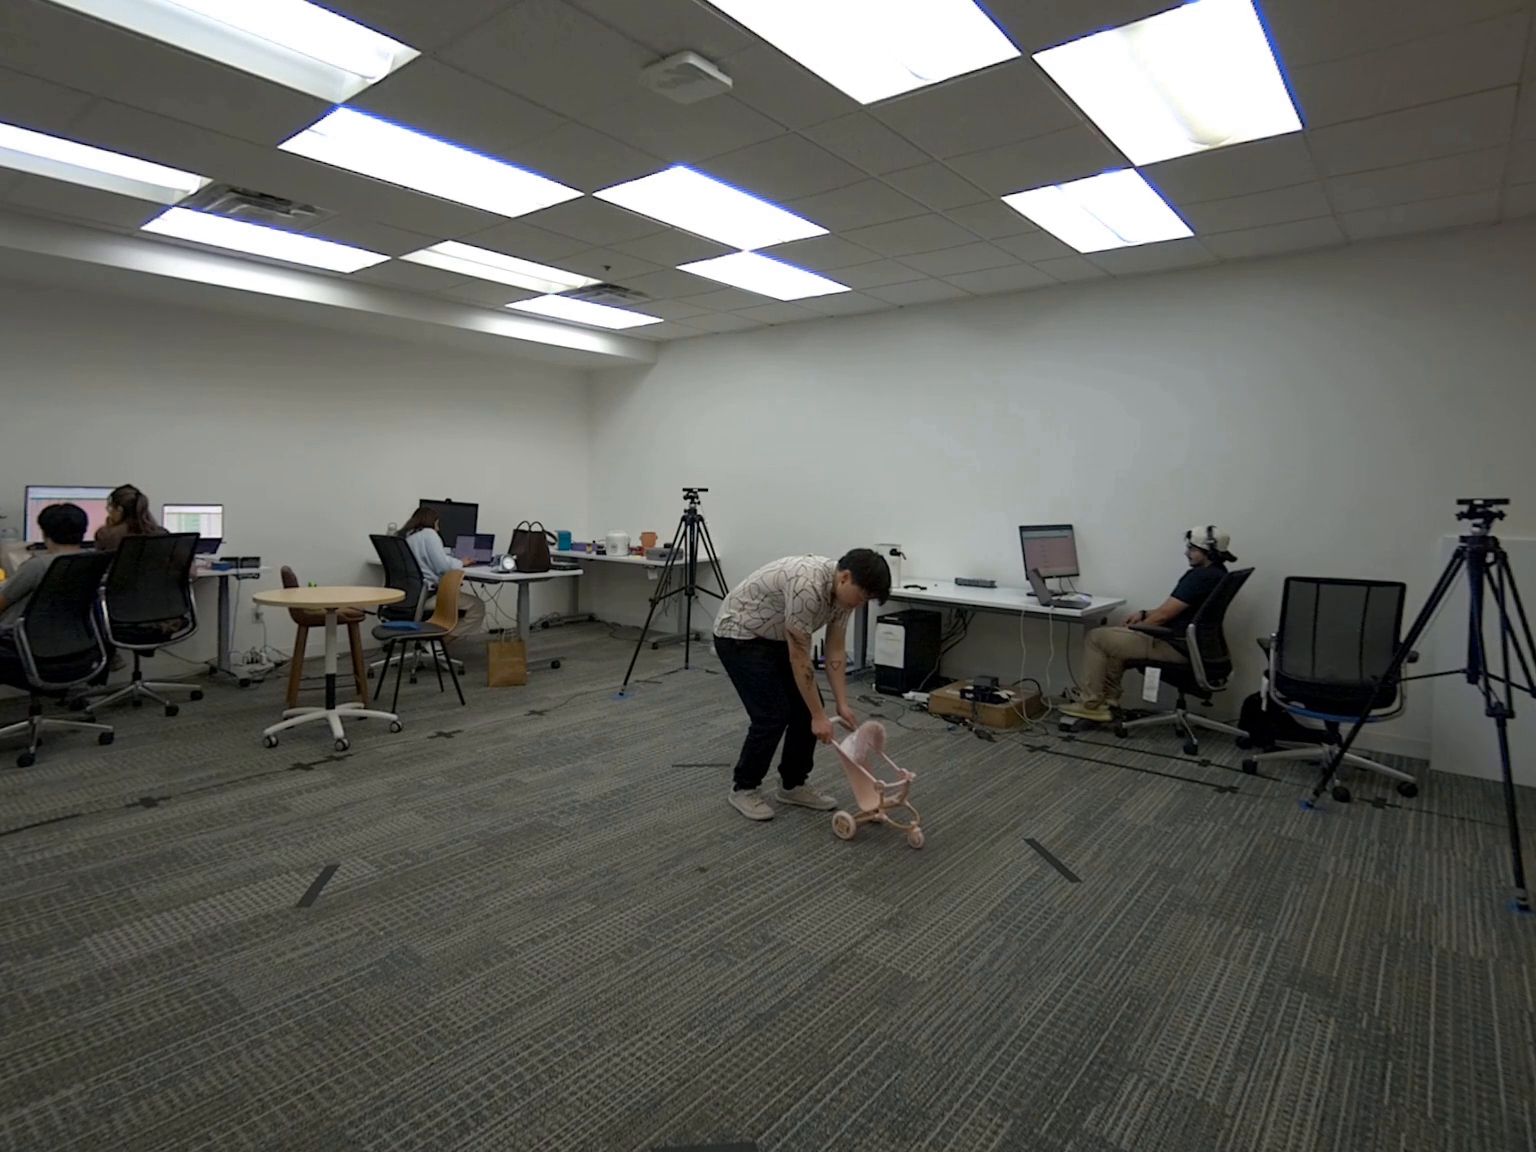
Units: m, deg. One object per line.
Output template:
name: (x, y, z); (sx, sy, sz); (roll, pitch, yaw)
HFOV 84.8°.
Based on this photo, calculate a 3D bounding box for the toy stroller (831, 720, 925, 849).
toy stroller: (0.424, 0.823, 3.456); (0.348, 0.540, 0.273); (-18, -10, 42)
